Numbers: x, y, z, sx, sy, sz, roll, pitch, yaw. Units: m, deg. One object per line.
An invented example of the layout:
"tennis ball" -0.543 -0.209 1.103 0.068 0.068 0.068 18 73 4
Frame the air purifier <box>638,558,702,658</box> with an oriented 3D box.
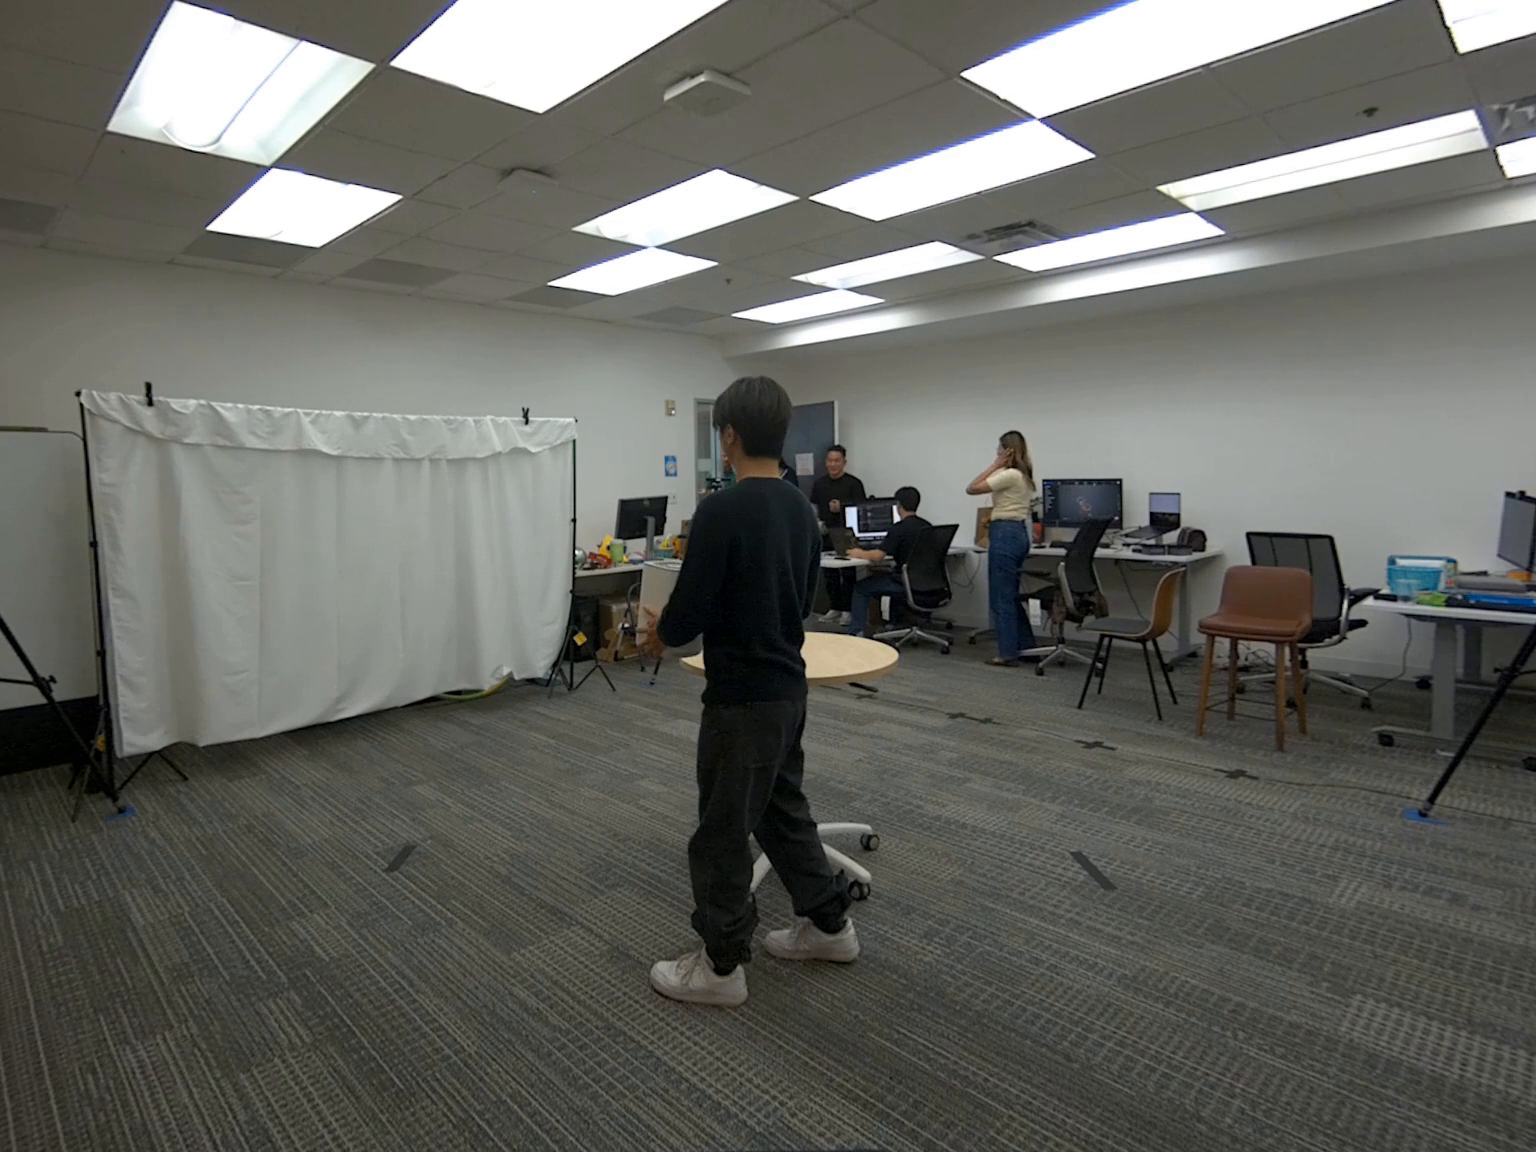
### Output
"air purifier" -0.274 0.098 2.517 0.177 0.264 0.167 10 7 39
